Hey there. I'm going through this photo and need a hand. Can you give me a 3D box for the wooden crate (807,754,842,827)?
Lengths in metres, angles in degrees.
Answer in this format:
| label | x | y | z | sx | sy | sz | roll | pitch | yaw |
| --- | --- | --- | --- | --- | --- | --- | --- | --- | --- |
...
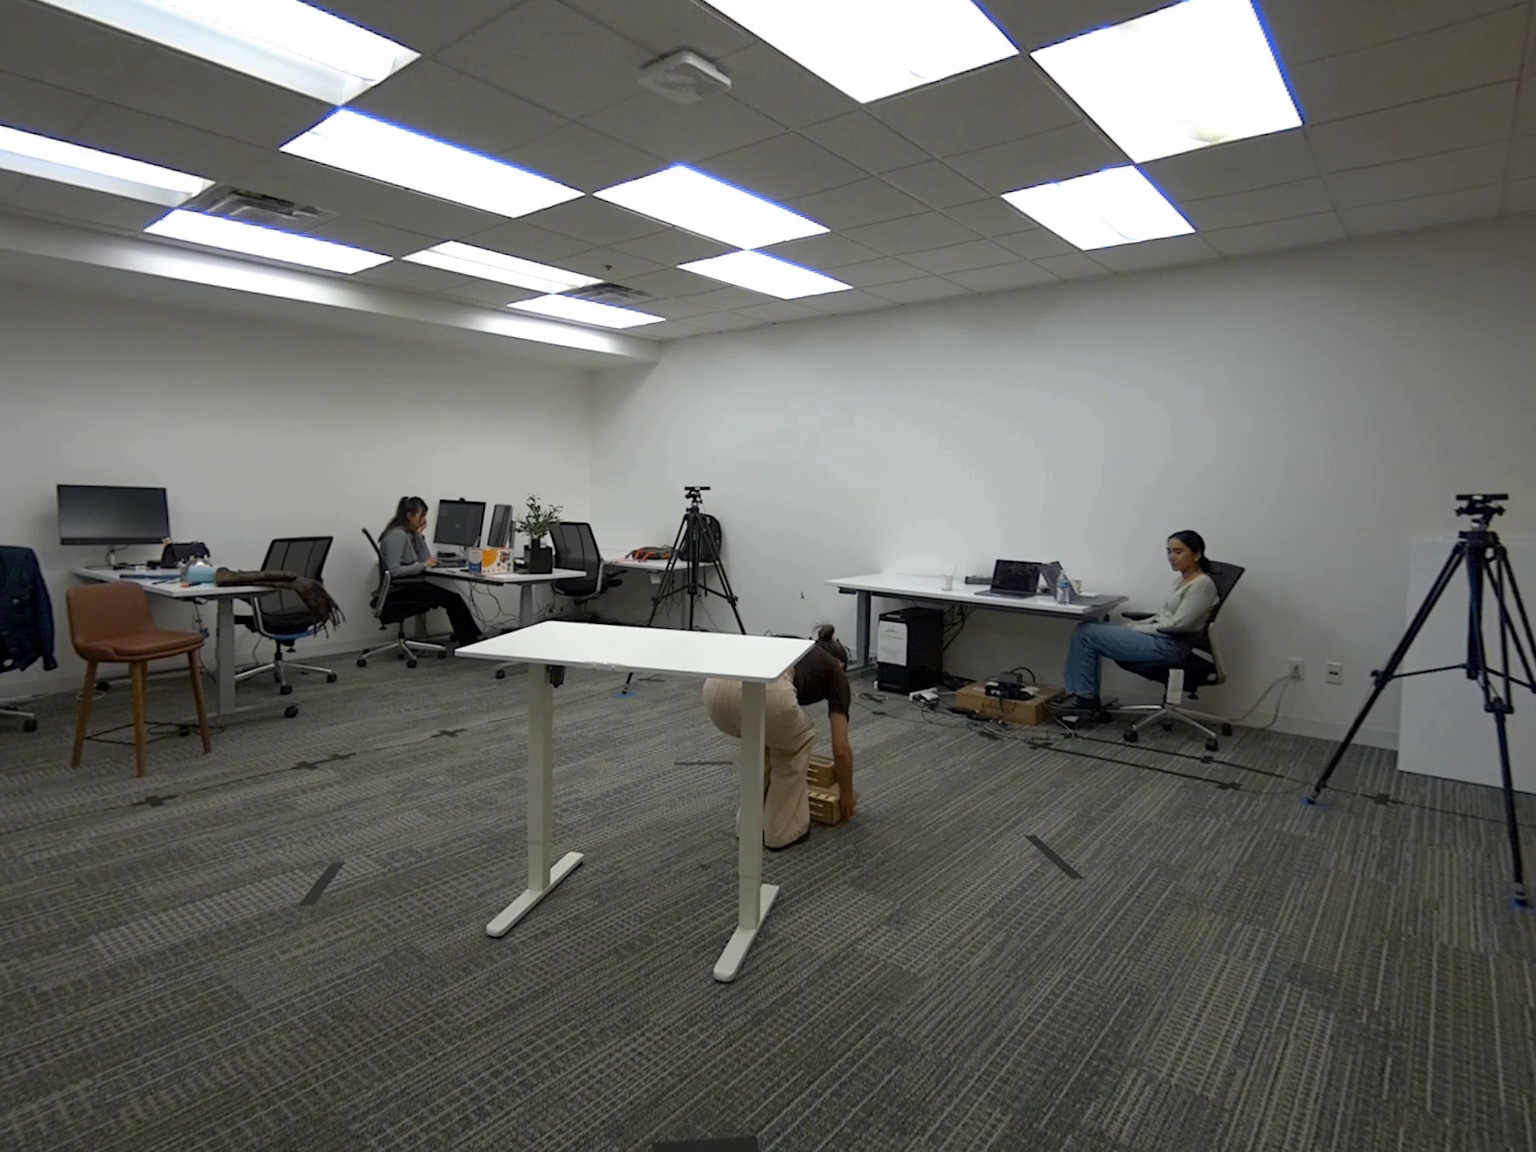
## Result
| label | x | y | z | sx | sy | sz | roll | pitch | yaw |
| --- | --- | --- | --- | --- | --- | --- | --- | --- | --- |
| wooden crate | 0.183 | 0.863 | 3.651 | 0.334 | 0.271 | 0.295 | 4 | 9 | 31 |
